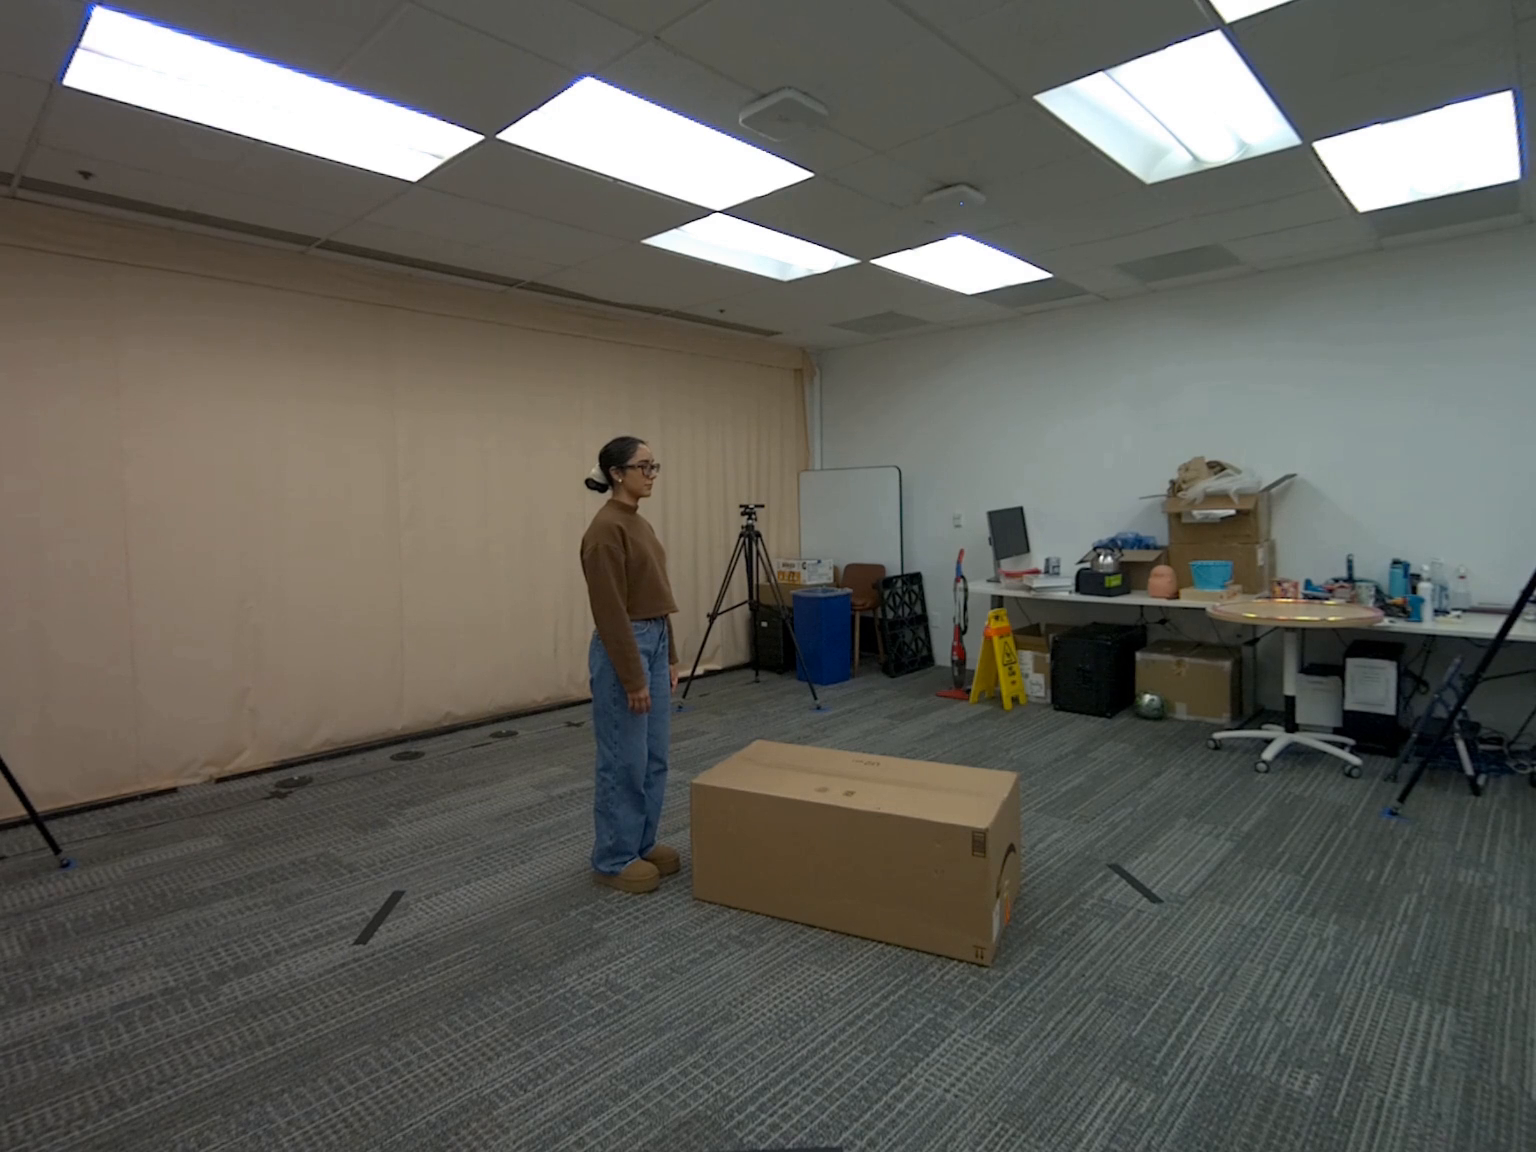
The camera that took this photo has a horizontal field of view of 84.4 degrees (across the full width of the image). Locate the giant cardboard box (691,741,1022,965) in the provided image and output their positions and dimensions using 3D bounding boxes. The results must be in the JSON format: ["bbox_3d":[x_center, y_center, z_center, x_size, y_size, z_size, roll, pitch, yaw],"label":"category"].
[{"bbox_3d":[0.318,0.921,2.981,1.055,0.446,0.569,2,4,27],"label":"giant cardboard box"}]
